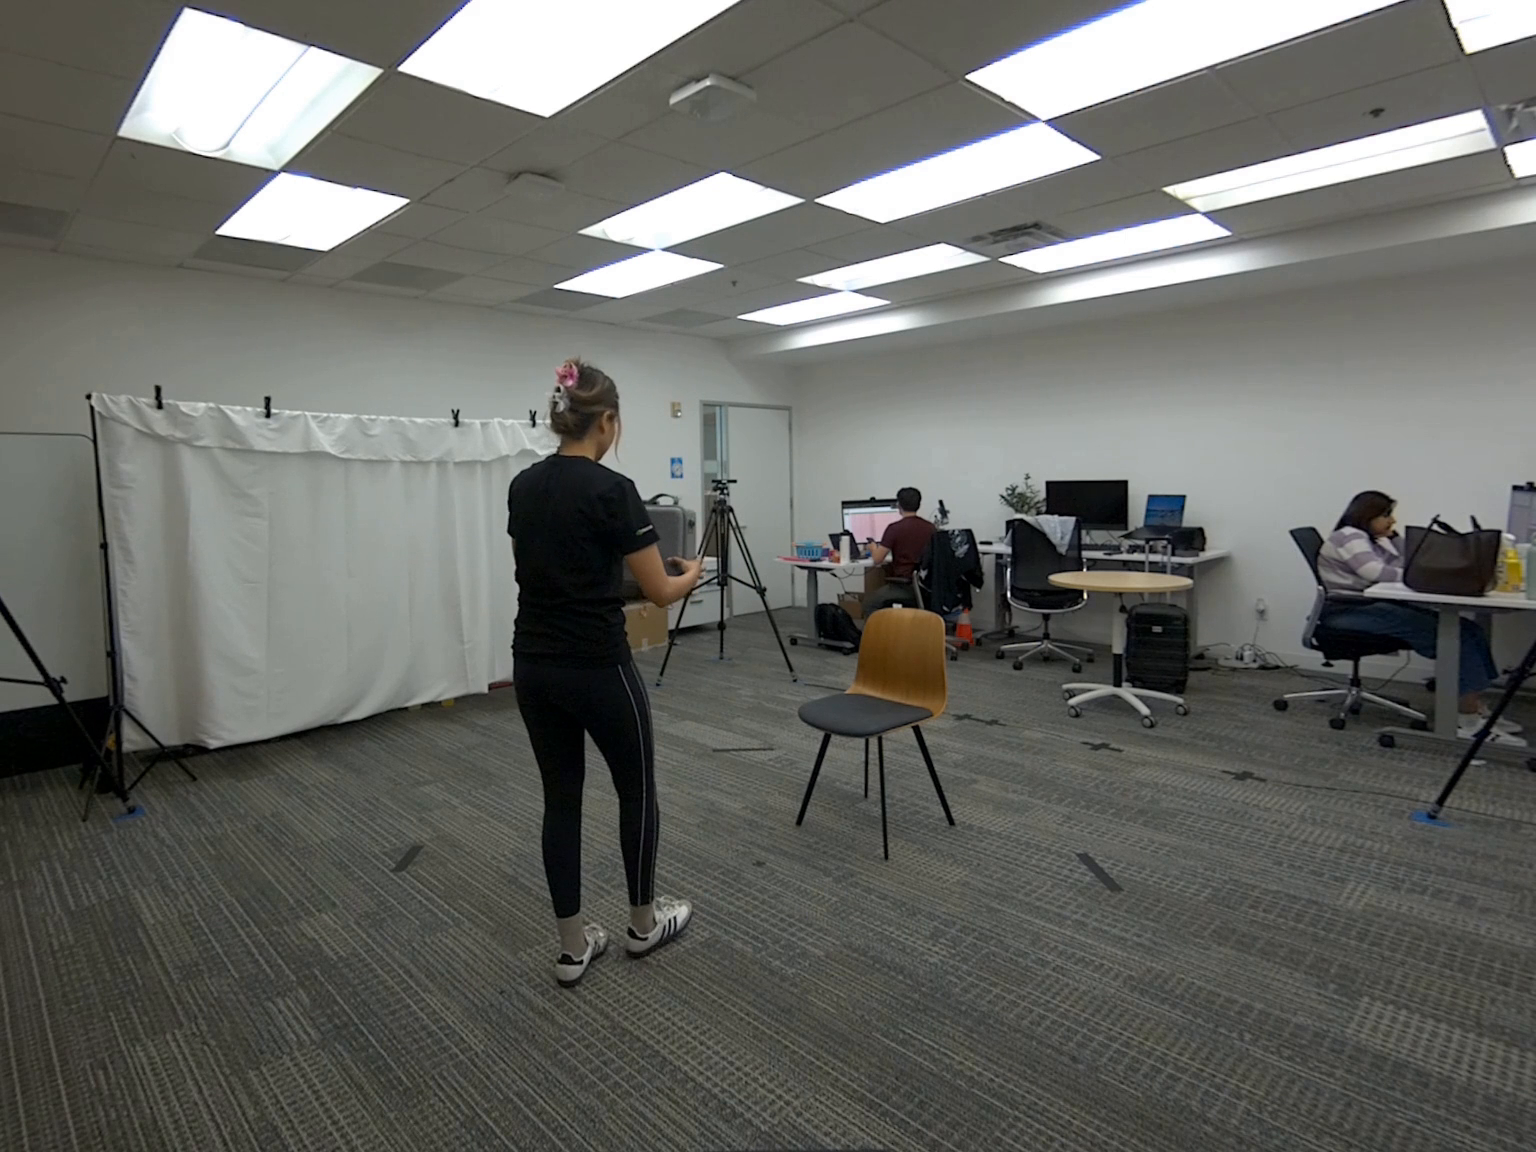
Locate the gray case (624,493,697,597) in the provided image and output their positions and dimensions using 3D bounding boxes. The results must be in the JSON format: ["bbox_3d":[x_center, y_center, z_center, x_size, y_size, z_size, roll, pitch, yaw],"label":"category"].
[{"bbox_3d":[-0.346,-0.101,2.713,0.264,0.260,0.101,3,1,36],"label":"gray case"}]
